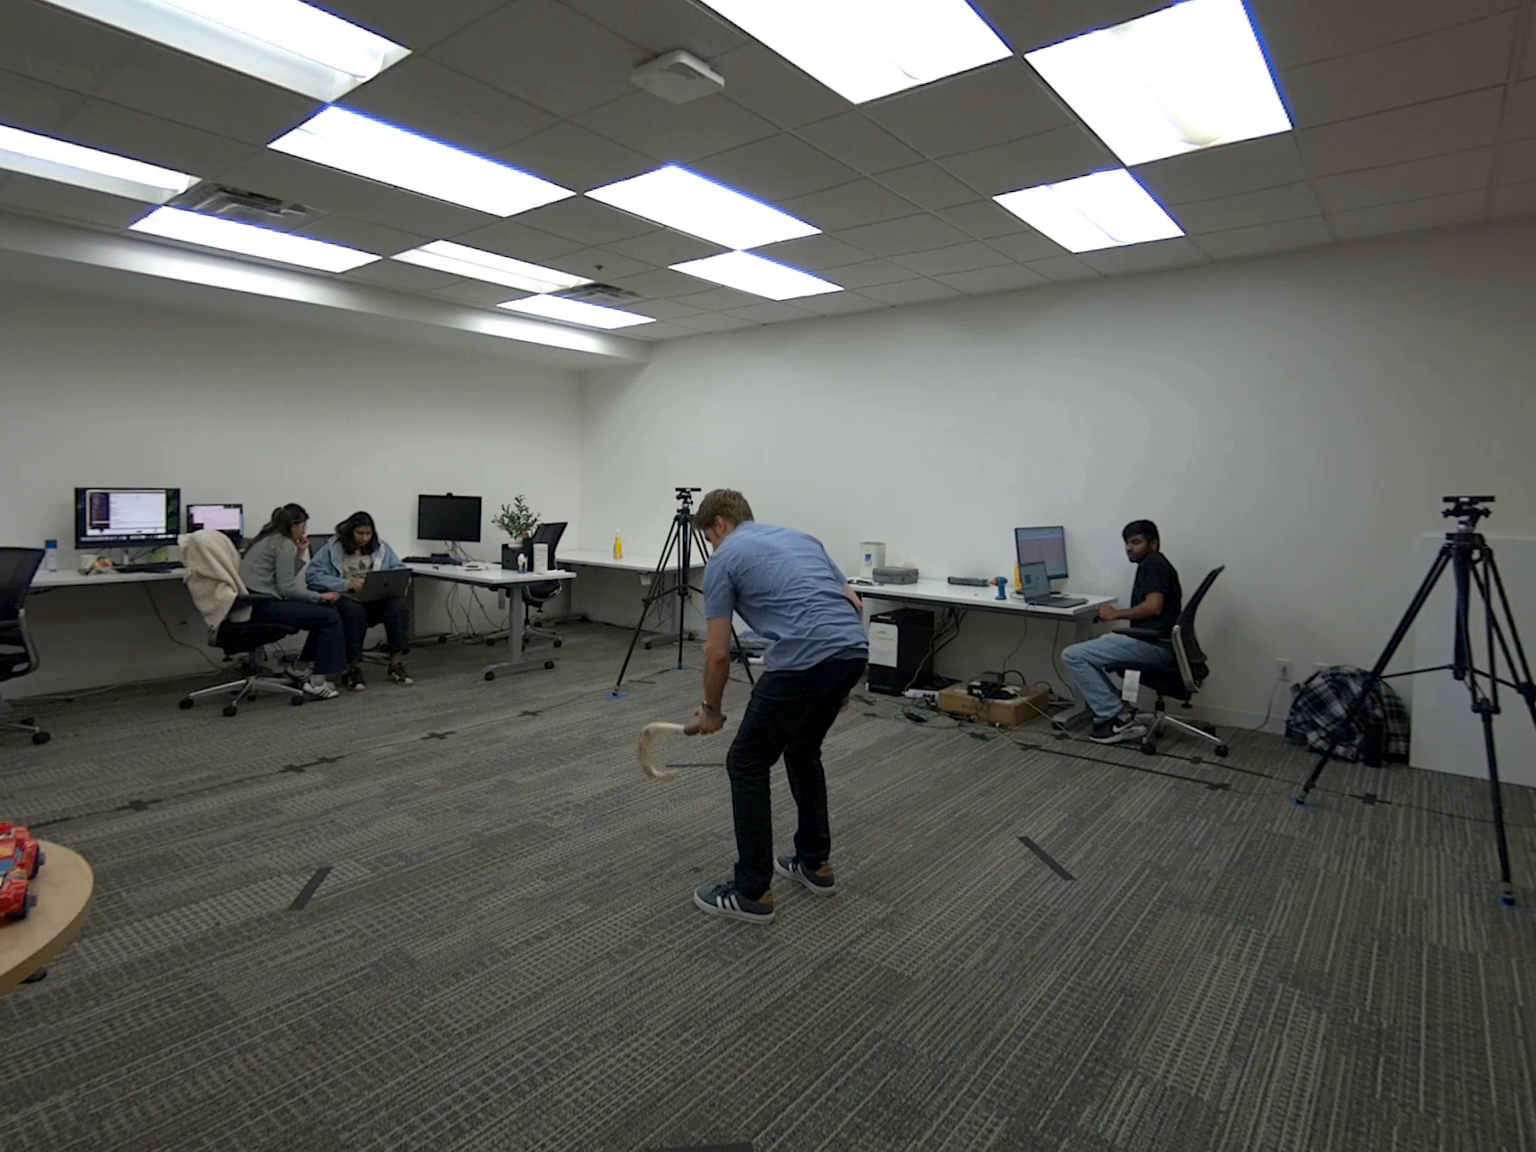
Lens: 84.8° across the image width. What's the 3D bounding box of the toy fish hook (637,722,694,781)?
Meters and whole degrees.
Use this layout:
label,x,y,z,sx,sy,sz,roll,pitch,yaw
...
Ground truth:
label,x,y,z,sx,sy,sz,roll,pitch,yaw
toy fish hook,-0.339,0.621,3.200,0.514,0.227,0.047,-26,-10,40
